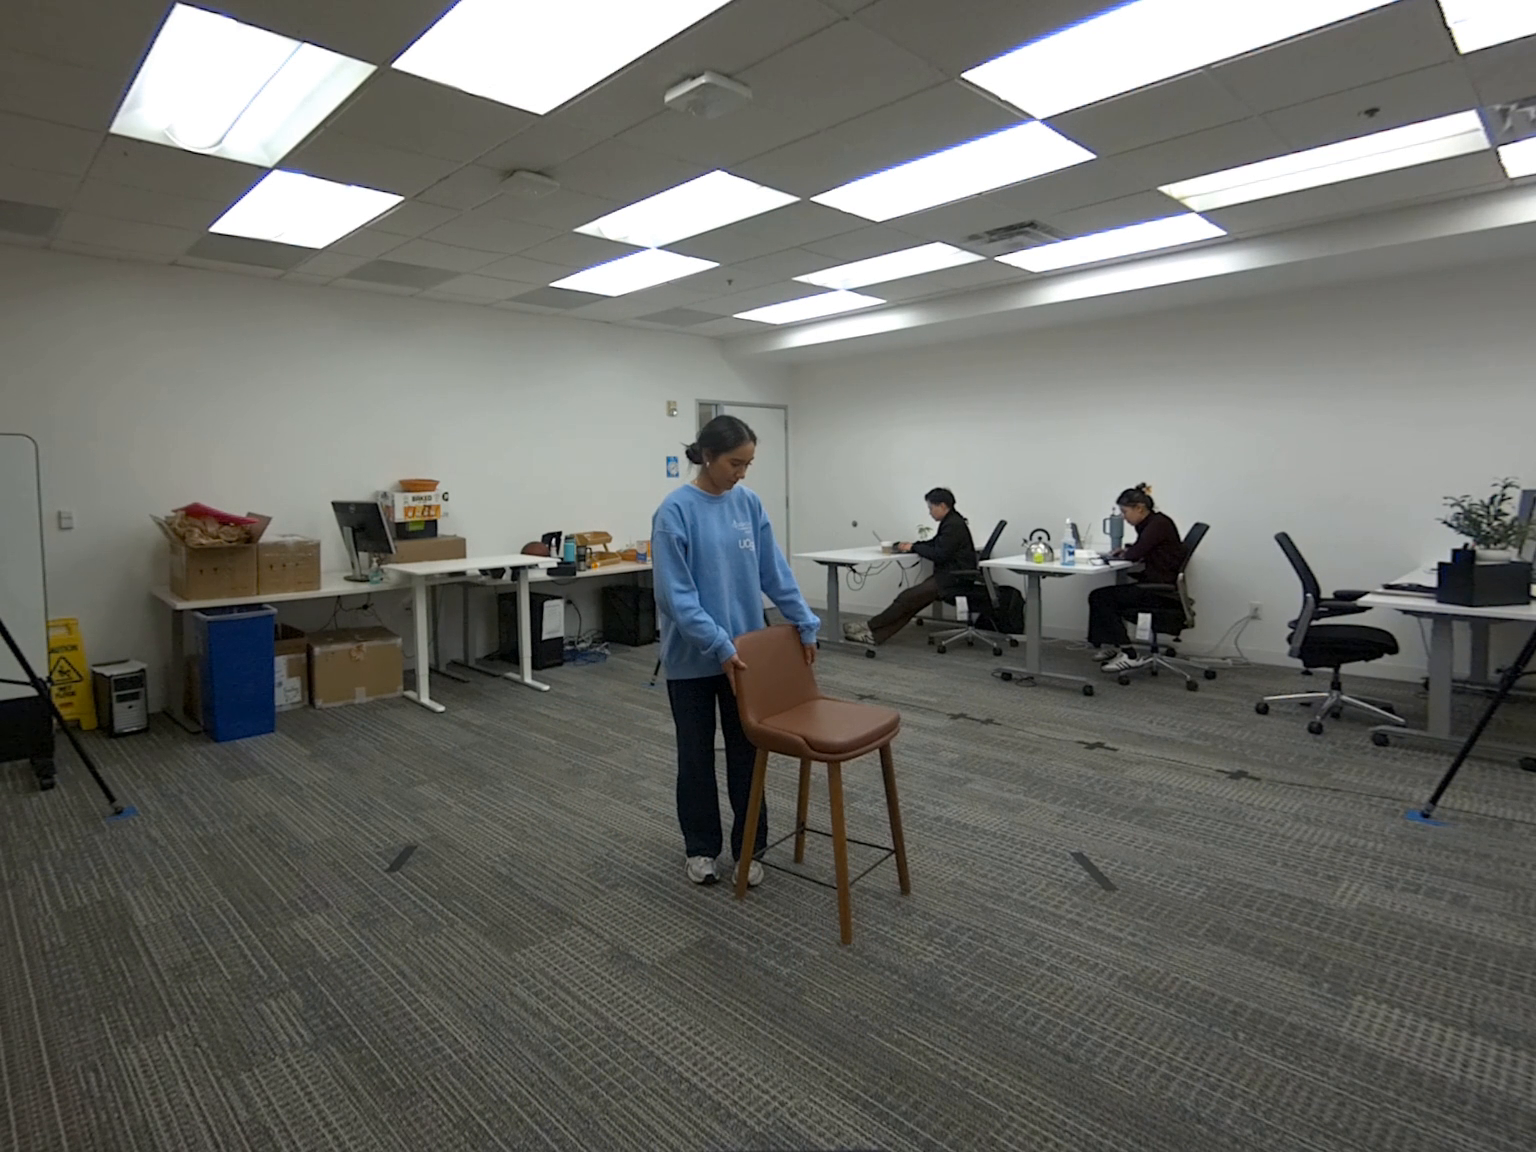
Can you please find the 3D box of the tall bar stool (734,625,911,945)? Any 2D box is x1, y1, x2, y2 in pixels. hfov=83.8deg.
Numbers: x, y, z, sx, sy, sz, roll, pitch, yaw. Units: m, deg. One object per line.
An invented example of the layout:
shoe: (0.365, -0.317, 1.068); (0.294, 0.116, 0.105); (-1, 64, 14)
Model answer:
tall bar stool: (0.167, 0.634, 2.826); (0.481, 0.888, 0.445); (-1, 3, 39)
